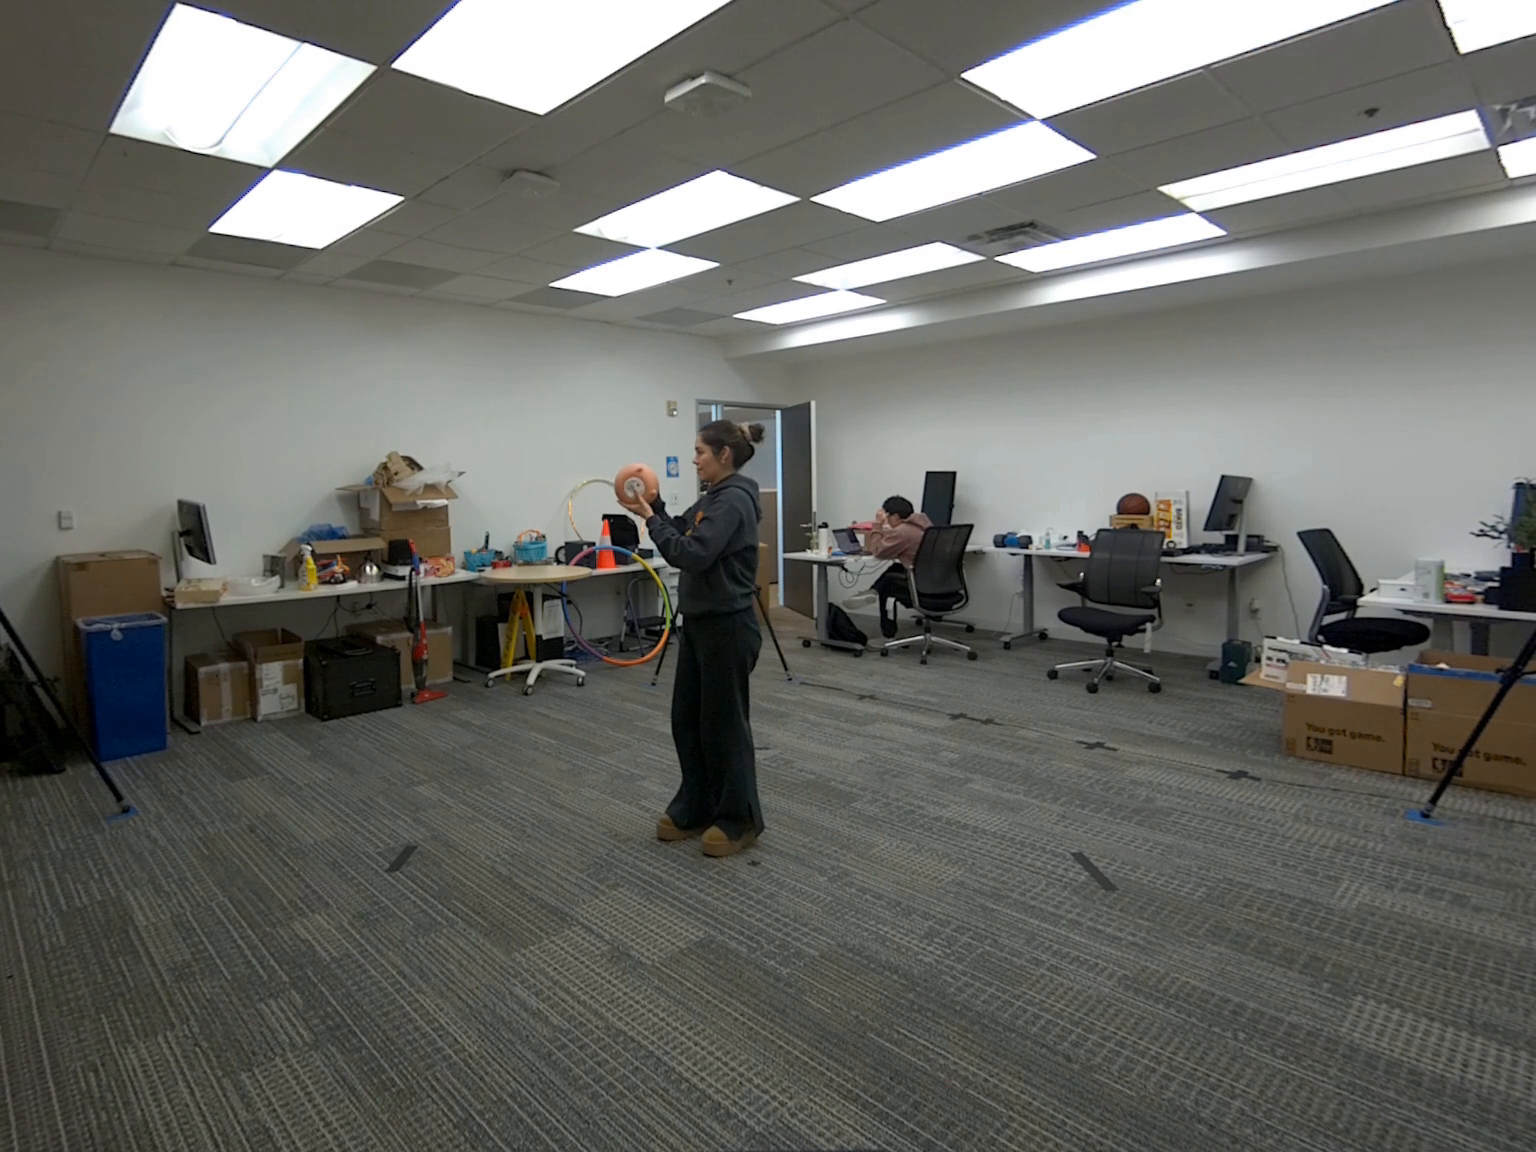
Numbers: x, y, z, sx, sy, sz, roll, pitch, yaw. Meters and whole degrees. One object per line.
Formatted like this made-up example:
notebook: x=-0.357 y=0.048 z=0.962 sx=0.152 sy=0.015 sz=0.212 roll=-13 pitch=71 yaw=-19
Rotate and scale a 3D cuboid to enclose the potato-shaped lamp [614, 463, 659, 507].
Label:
potato-shaped lamp: x=-0.487 y=-0.346 z=3.227 sx=0.164 sy=0.172 sz=0.198 roll=-15 pitch=0 yaw=-4
